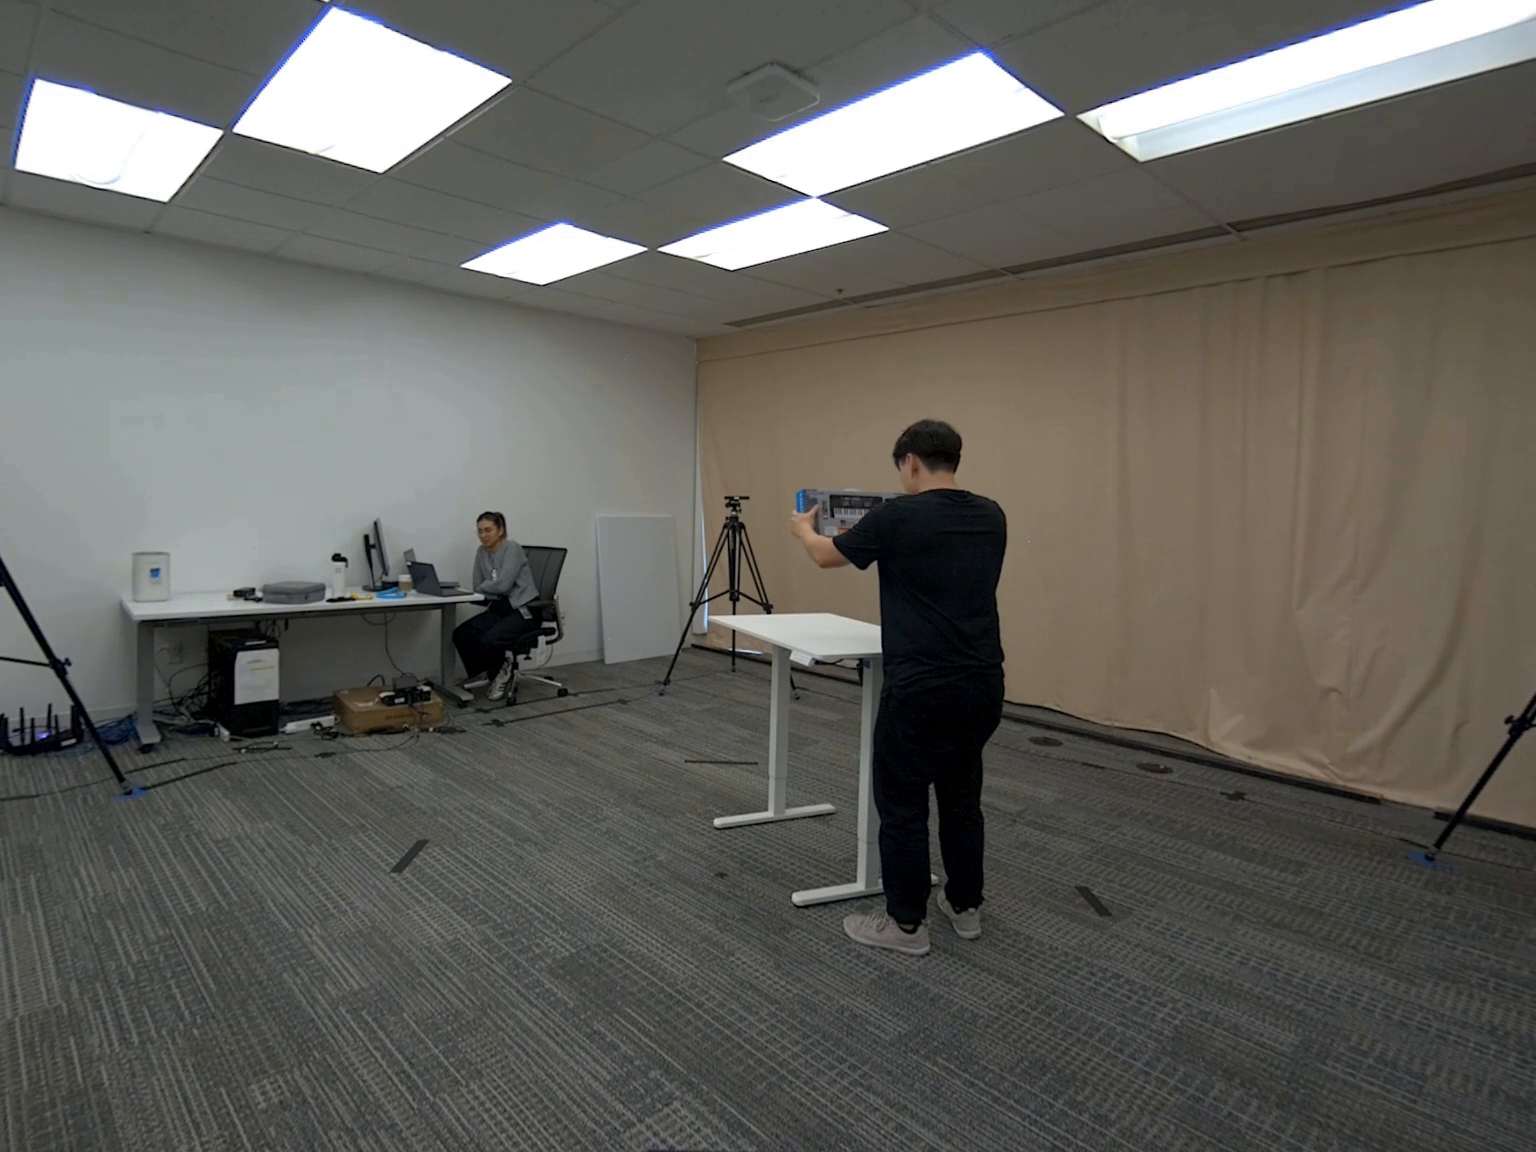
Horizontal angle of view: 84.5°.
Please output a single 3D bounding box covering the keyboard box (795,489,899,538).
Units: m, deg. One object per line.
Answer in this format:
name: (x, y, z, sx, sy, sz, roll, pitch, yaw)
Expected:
keyboard box: (0.312, -0.213, 3.048, 0.429, 0.177, 0.060, 0, -8, -24)
